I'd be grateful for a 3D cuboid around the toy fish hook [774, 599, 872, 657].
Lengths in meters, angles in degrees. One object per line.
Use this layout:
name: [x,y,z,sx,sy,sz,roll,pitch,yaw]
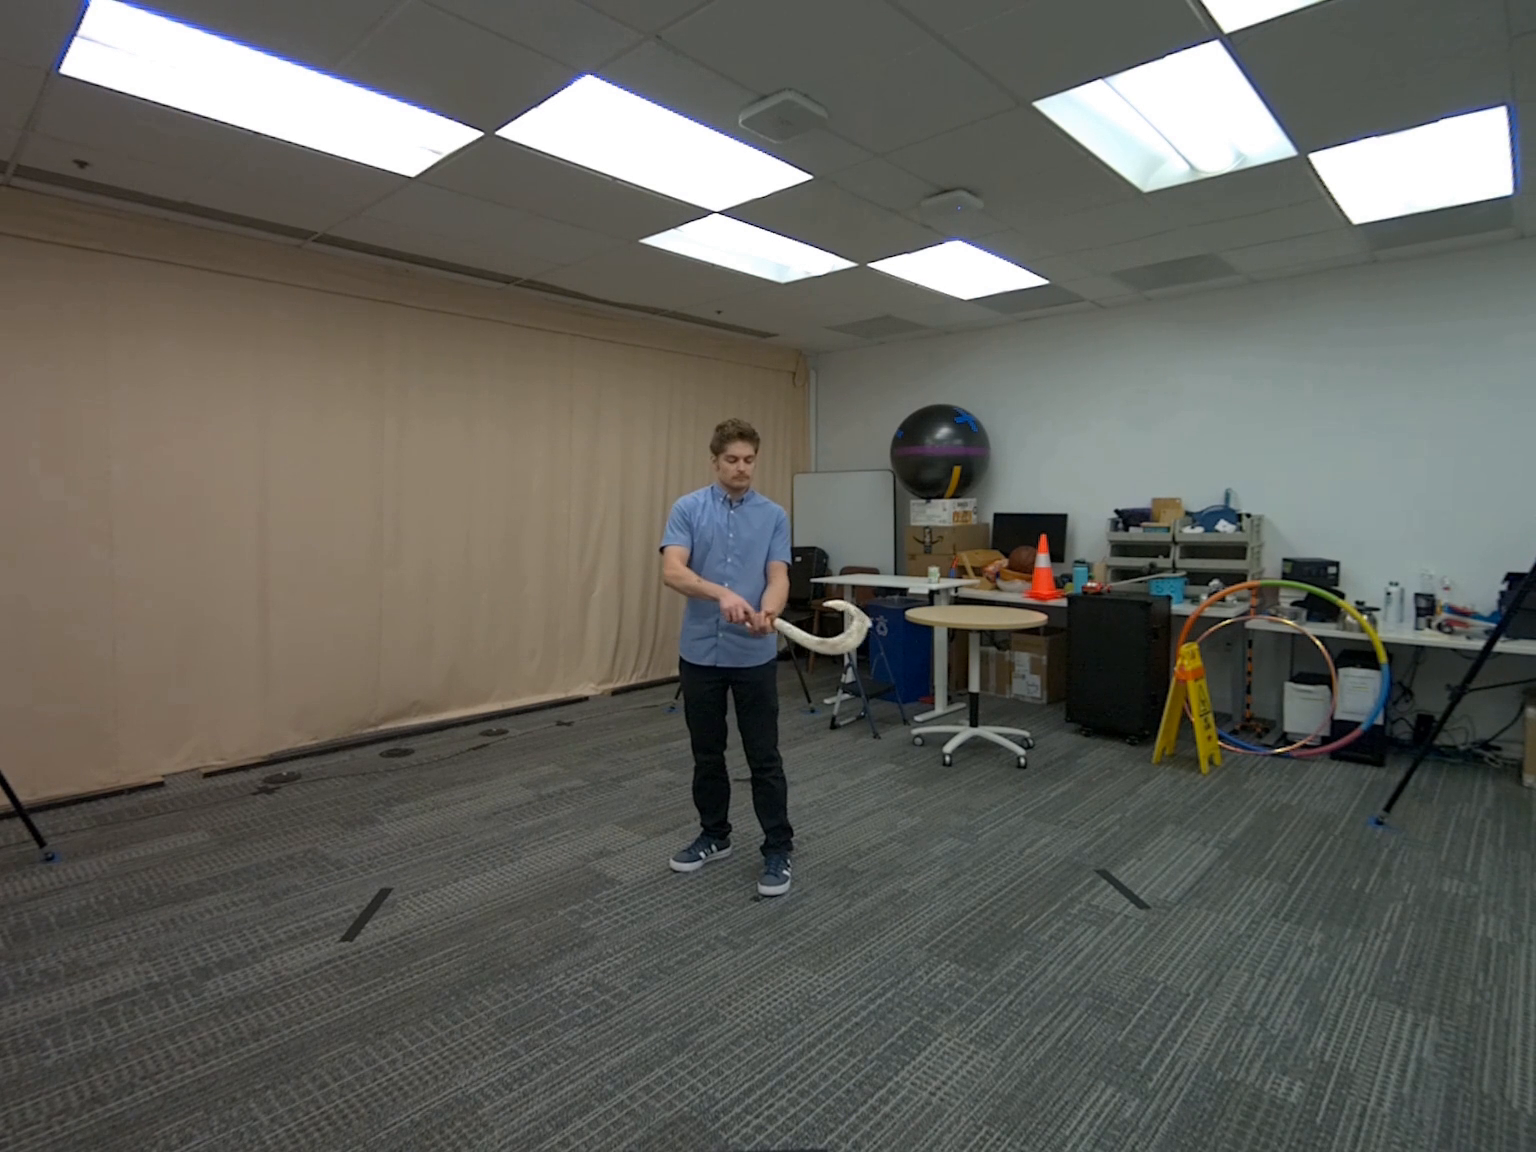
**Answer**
toy fish hook: [0.087,0.142,2.797,0.523,0.047,0.223,12,46,33]
